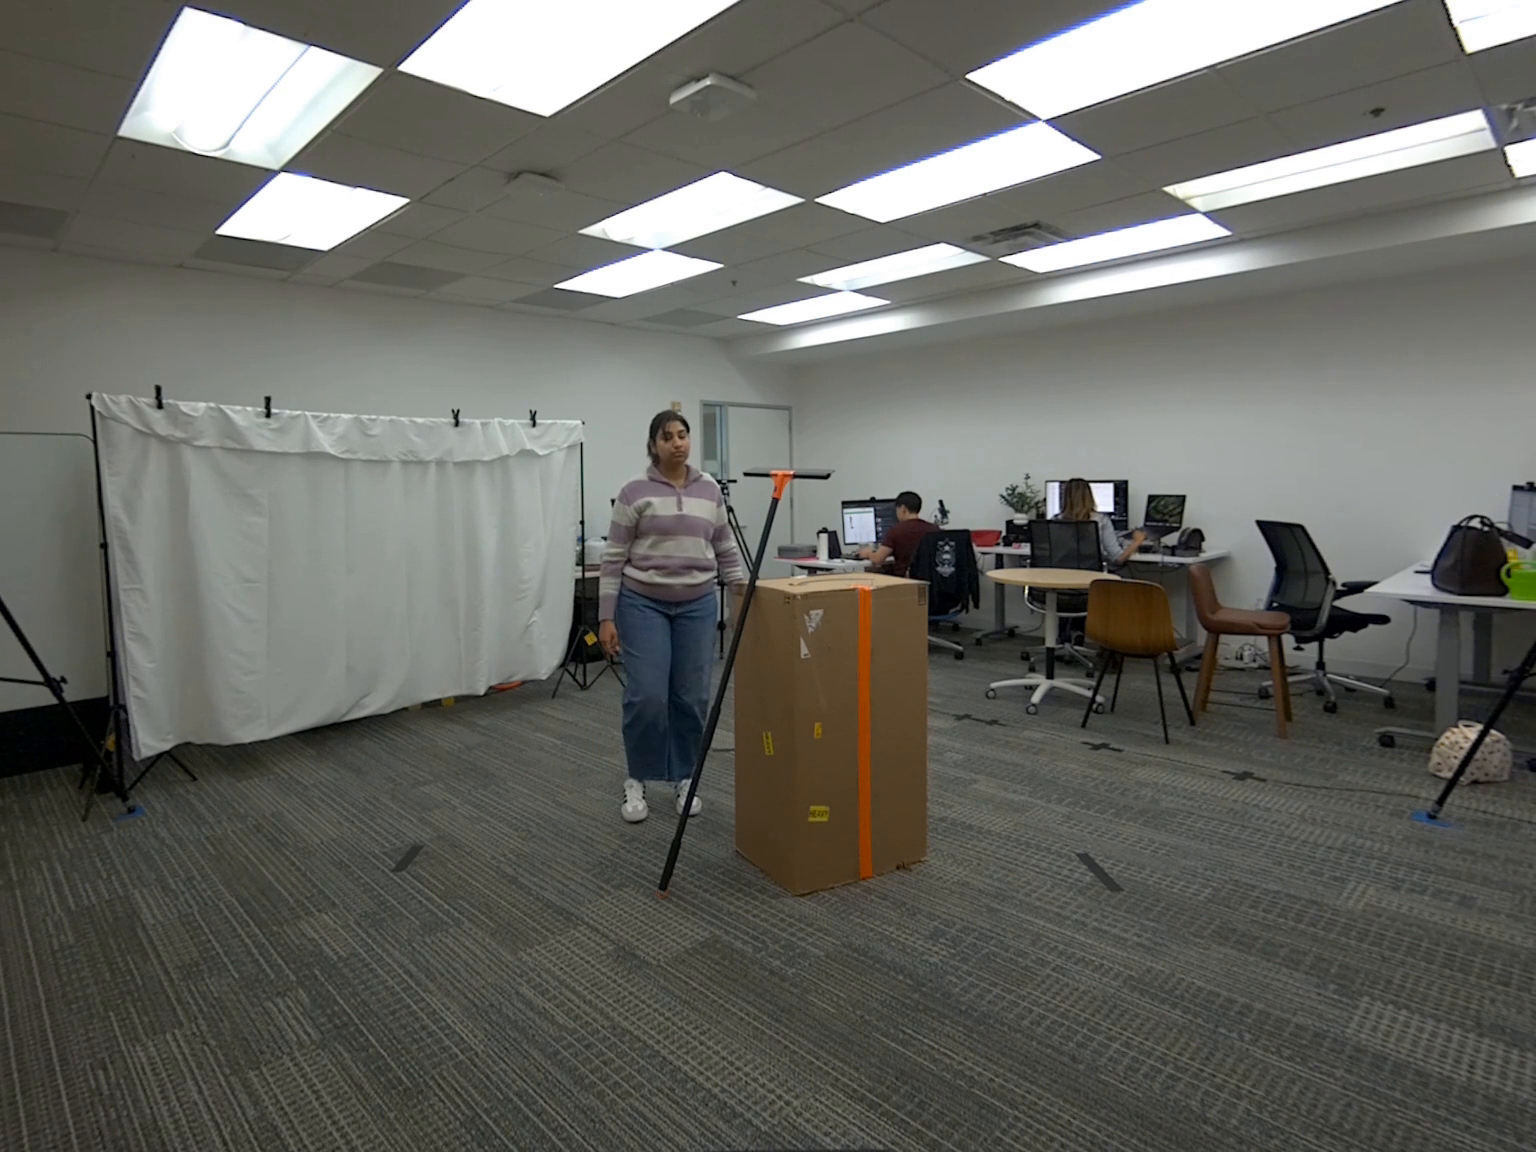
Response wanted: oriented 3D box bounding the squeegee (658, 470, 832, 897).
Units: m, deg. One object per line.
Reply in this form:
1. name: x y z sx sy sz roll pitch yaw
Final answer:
1. squeegee: -0.163 0.336 2.980 0.051 1.545 0.451 25 -11 -40
